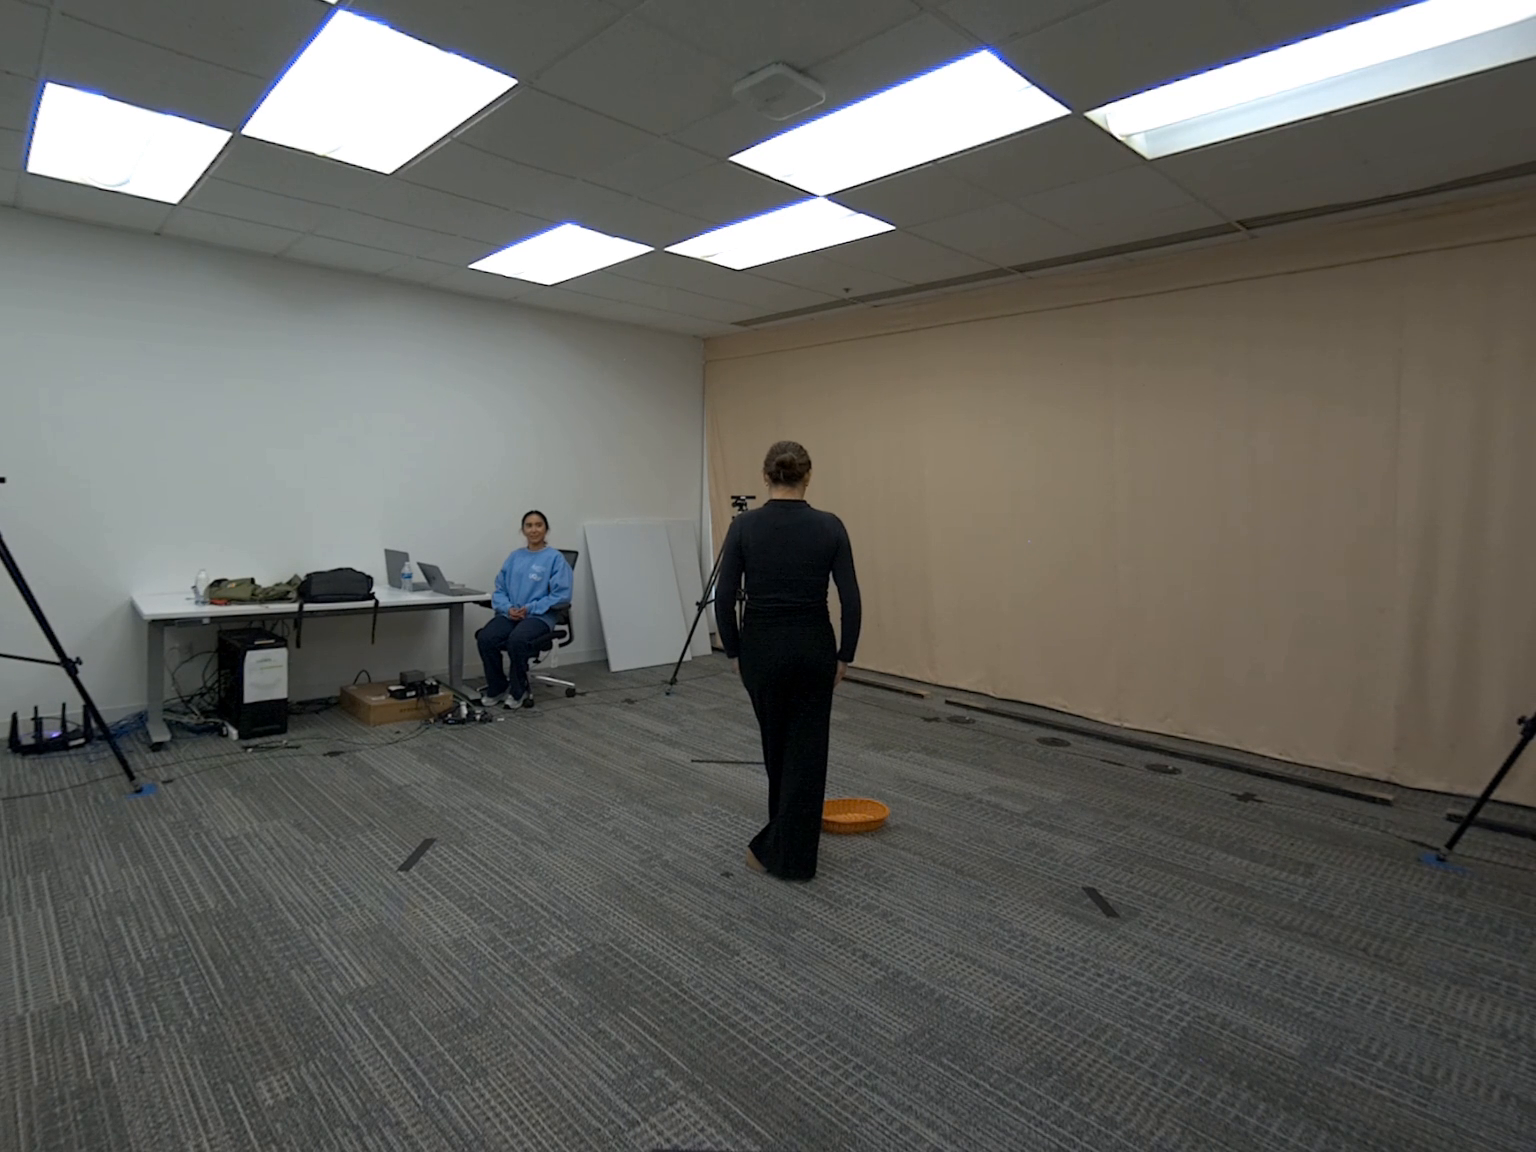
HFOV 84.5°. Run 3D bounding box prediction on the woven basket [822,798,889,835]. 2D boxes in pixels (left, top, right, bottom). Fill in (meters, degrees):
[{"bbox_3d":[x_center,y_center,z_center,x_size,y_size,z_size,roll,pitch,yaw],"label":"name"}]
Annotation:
[{"bbox_3d":[0.338,1.029,3.613,0.346,0.073,0.257,0,7,-17],"label":"woven basket"}]
